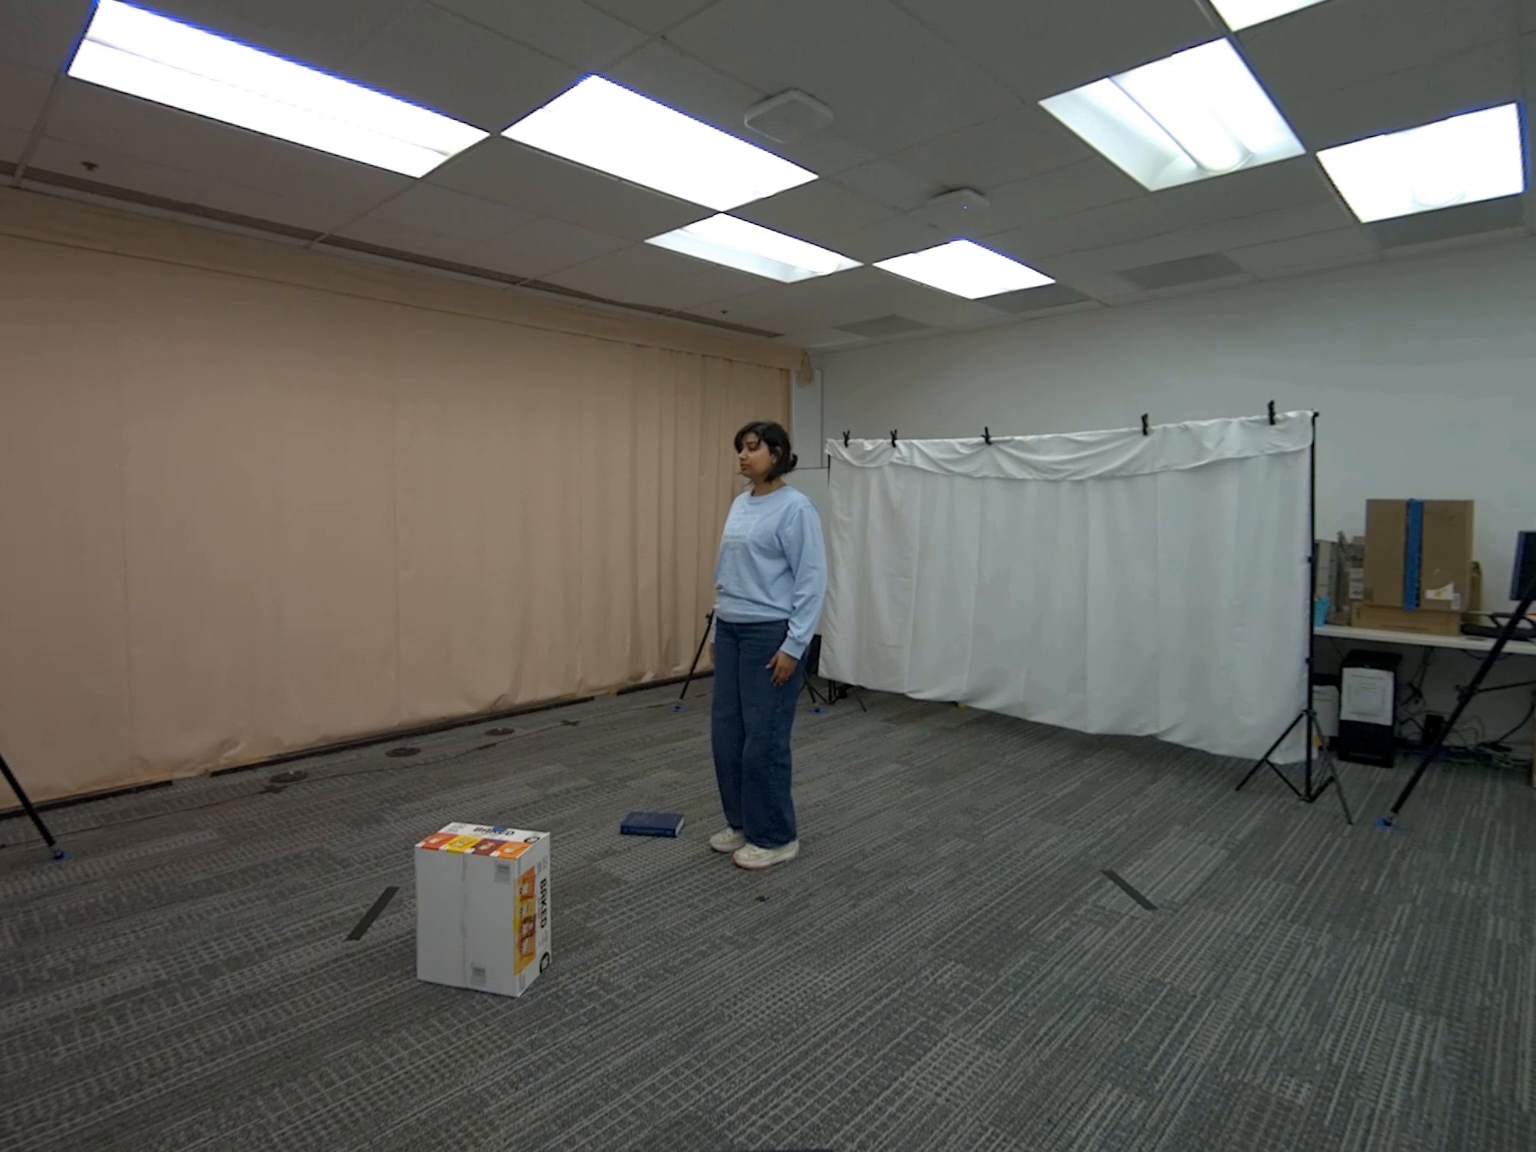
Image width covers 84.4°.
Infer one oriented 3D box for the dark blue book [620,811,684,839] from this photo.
[{"bbox_3d":[-0.500,1.070,3.632,0.248,0.045,0.162,0,4,9],"label":"dark blue book"}]
